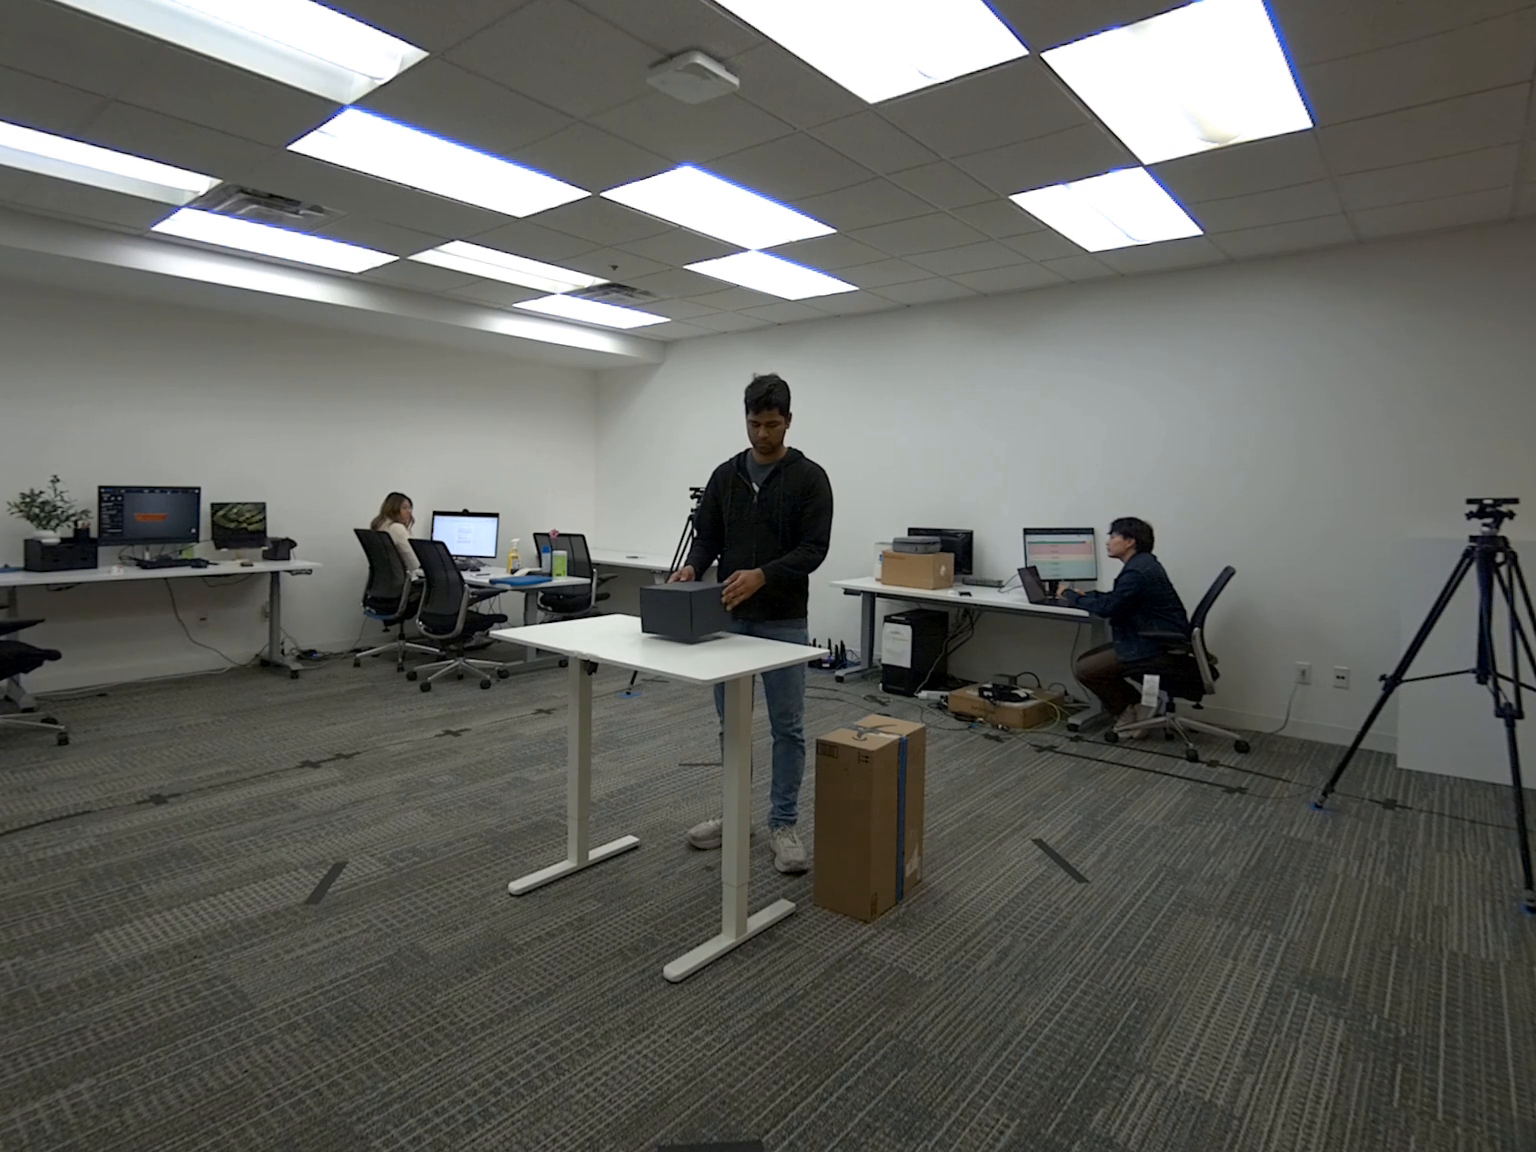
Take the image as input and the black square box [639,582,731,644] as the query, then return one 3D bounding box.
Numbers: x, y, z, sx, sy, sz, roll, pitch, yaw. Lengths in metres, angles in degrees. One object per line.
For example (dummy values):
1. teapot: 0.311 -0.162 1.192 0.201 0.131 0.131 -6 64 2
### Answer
1. black square box: -0.276 0.104 2.863 0.235 0.155 0.211 2 5 38
